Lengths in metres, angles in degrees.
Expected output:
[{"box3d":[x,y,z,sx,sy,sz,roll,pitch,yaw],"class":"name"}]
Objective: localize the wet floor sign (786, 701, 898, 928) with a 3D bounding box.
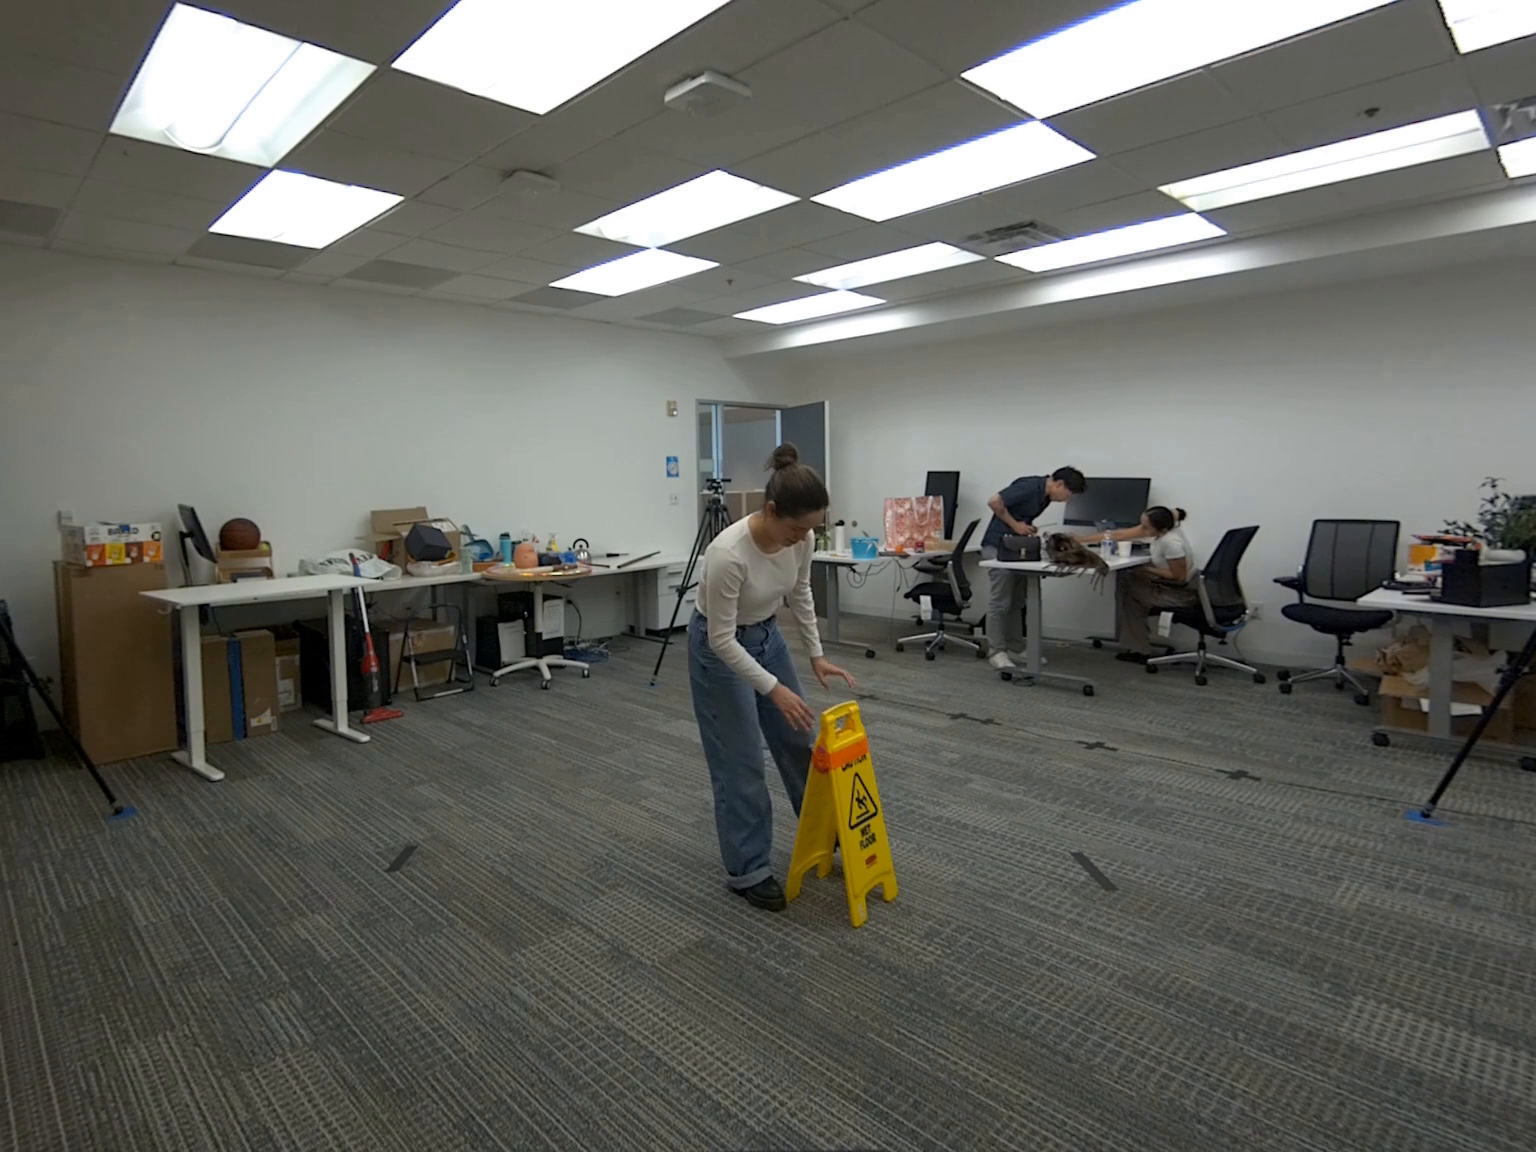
[{"box3d":[0.235,0.742,2.815,0.298,0.644,0.275,2,4,40],"class":"wet floor sign"}]
